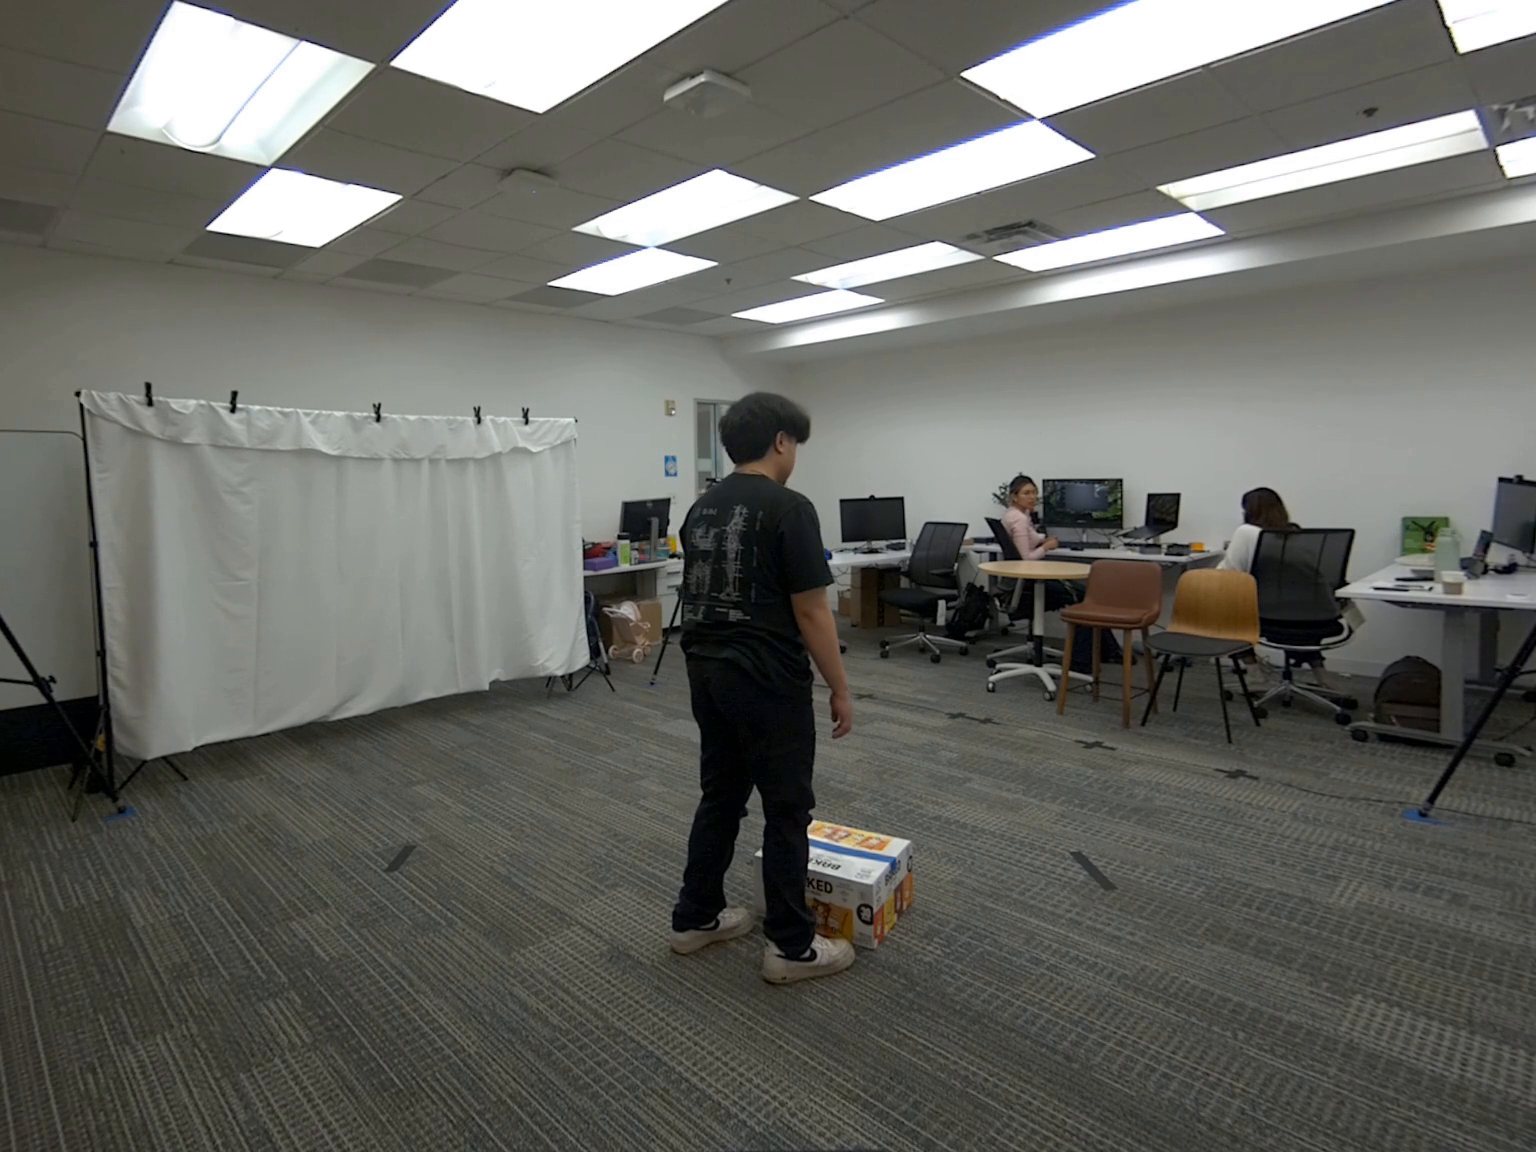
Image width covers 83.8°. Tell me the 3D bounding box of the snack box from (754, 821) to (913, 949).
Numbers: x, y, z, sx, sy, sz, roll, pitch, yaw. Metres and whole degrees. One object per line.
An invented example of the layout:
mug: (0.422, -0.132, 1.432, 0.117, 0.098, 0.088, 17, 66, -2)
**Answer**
snack box: (0.218, 0.975, 2.755, 0.416, 0.205, 0.333, 2, 7, 30)
